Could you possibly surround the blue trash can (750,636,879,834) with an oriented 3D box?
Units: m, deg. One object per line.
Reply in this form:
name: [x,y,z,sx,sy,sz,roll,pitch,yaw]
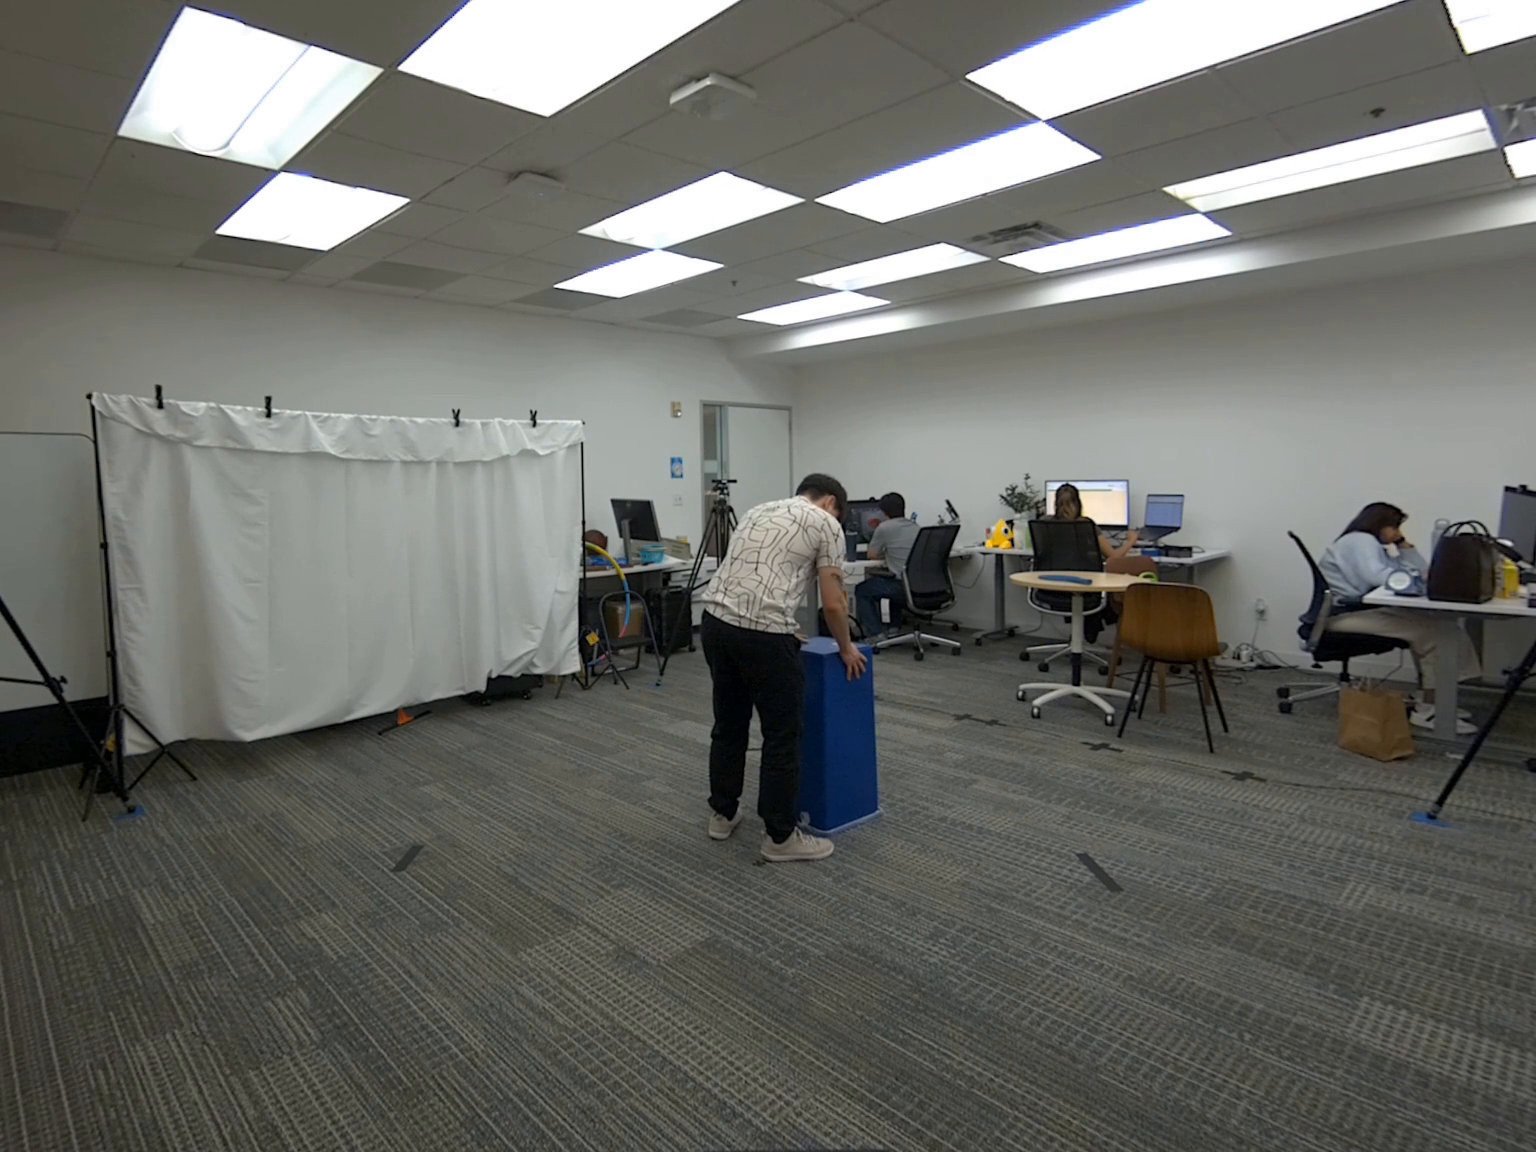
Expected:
blue trash can: [0.226,0.632,3.563,0.368,0.712,0.385,-3,4,-42]
